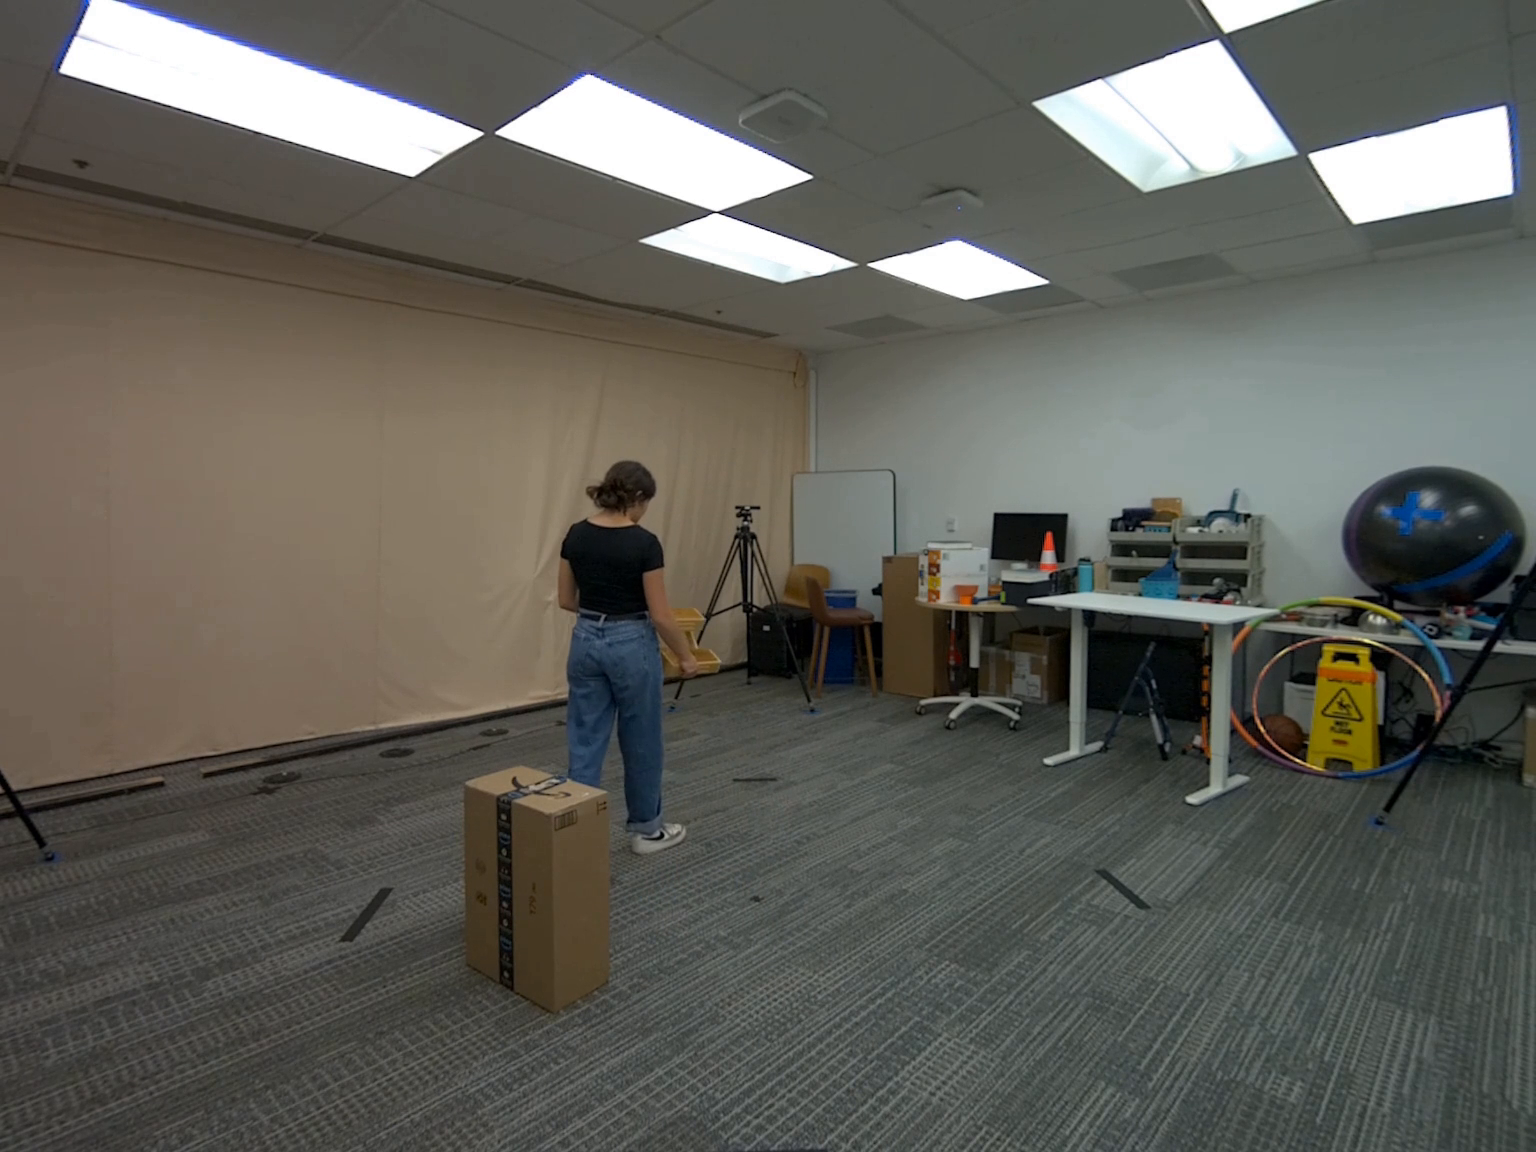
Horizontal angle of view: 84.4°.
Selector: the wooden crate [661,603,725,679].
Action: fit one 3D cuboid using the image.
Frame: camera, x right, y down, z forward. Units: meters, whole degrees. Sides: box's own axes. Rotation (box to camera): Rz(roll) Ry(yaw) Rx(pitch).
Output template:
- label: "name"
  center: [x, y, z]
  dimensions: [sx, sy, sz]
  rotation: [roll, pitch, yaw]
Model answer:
- label: "wooden crate"
  center: [-0.403, 0.257, 3.483]
  dimensions: [0.311, 0.273, 0.314]
  rotation: [2, -1, 36]
